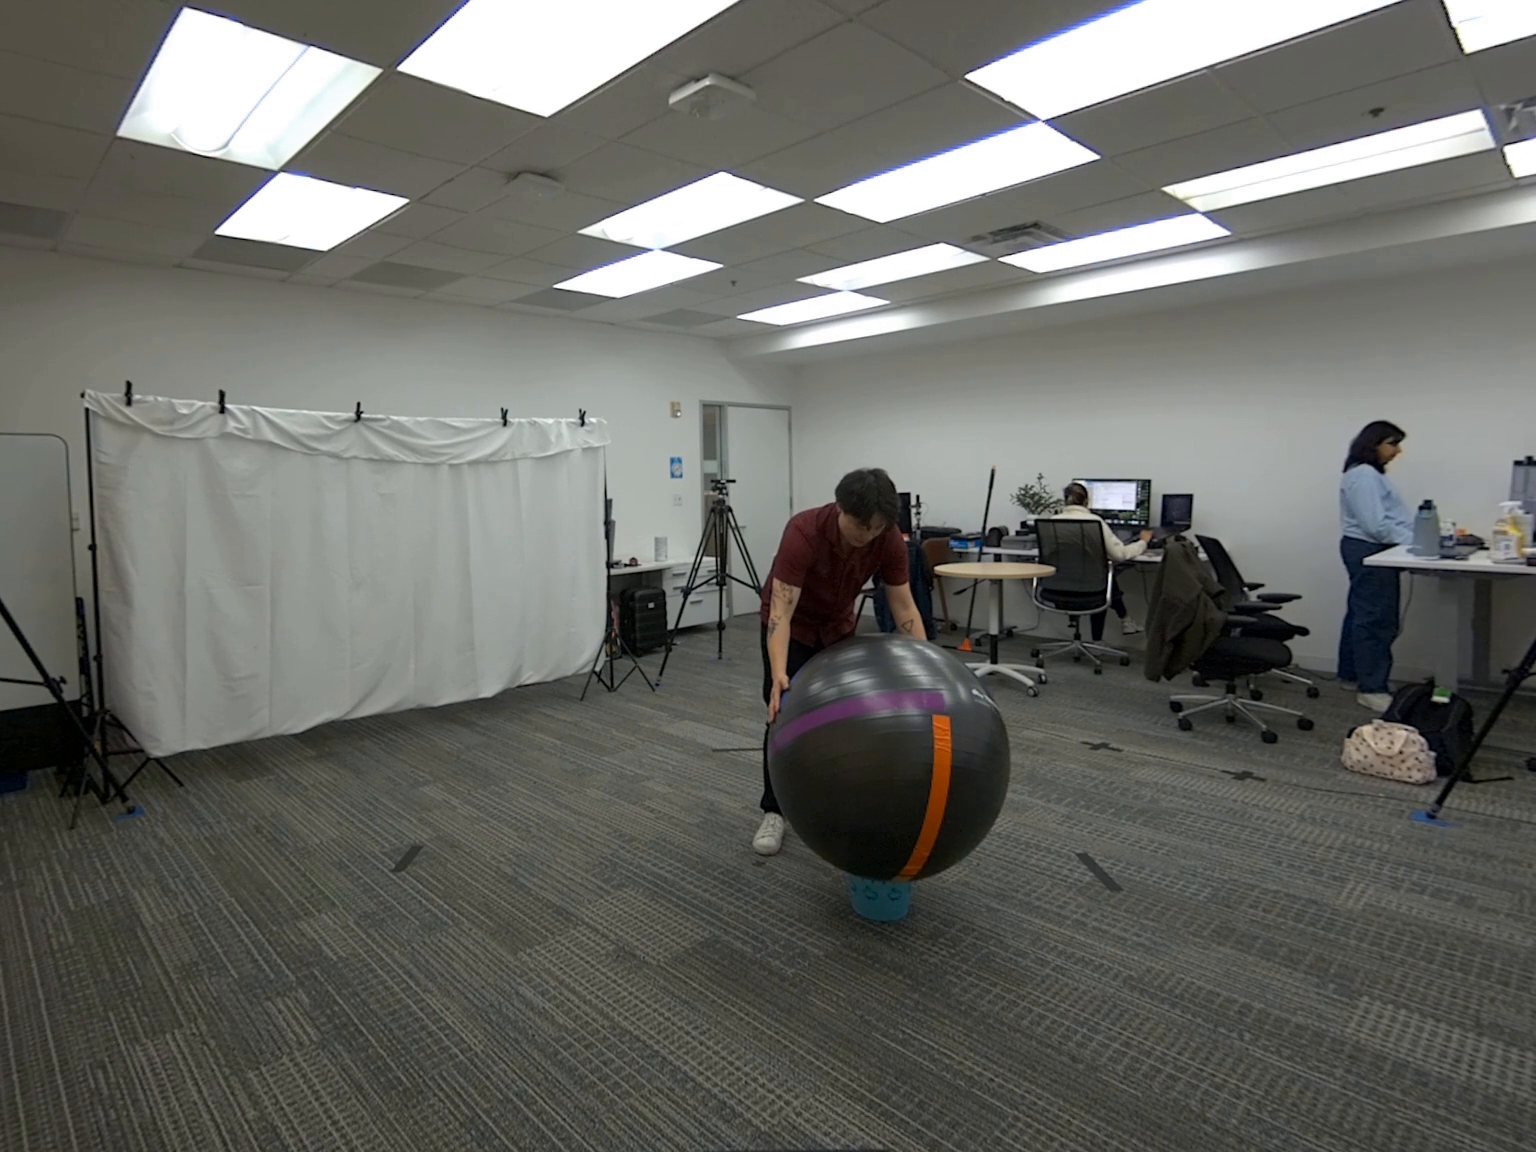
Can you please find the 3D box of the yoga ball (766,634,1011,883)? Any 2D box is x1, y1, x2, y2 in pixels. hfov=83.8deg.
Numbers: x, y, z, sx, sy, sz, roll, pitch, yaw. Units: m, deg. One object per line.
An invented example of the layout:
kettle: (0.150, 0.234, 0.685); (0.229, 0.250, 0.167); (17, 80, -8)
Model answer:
yoga ball: (0.376, 0.573, 2.723); (0.757, 0.755, 0.762); (-1, 5, -2)
